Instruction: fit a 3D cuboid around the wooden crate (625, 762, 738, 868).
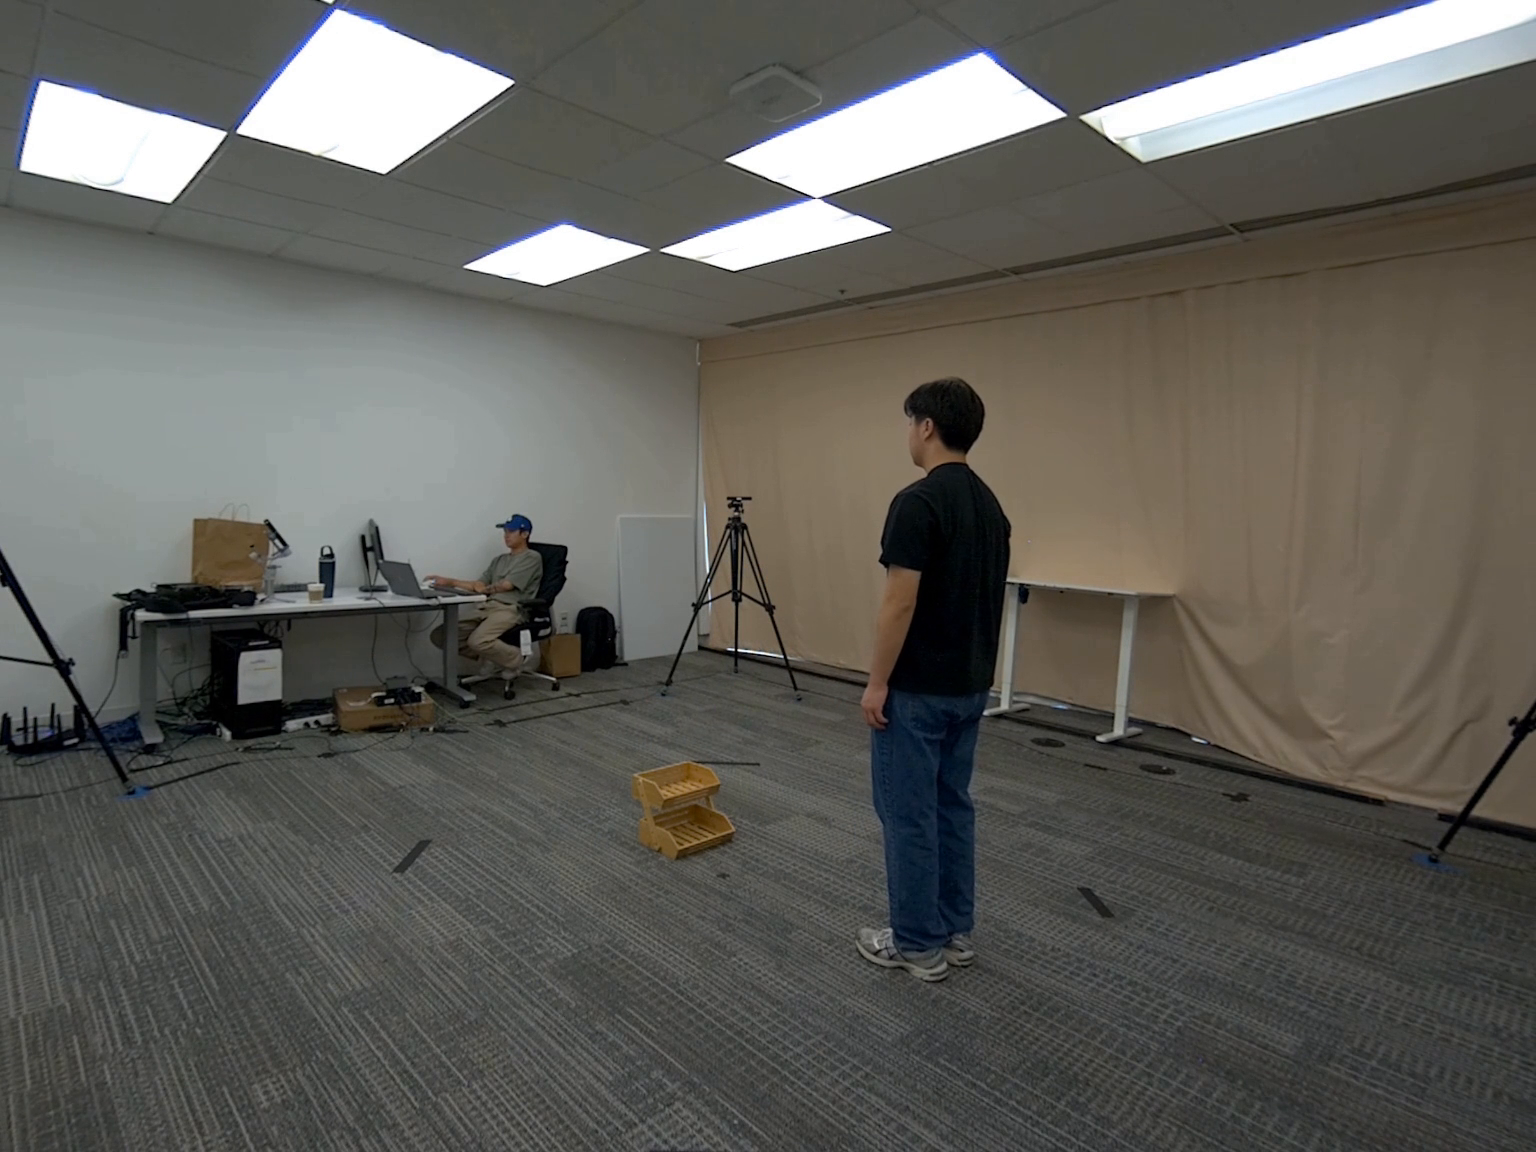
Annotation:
[{"bbox_3d":[-0.351,0.951,3.420,0.317,0.273,0.310,-1,4,-44],"label":"wooden crate"}]
